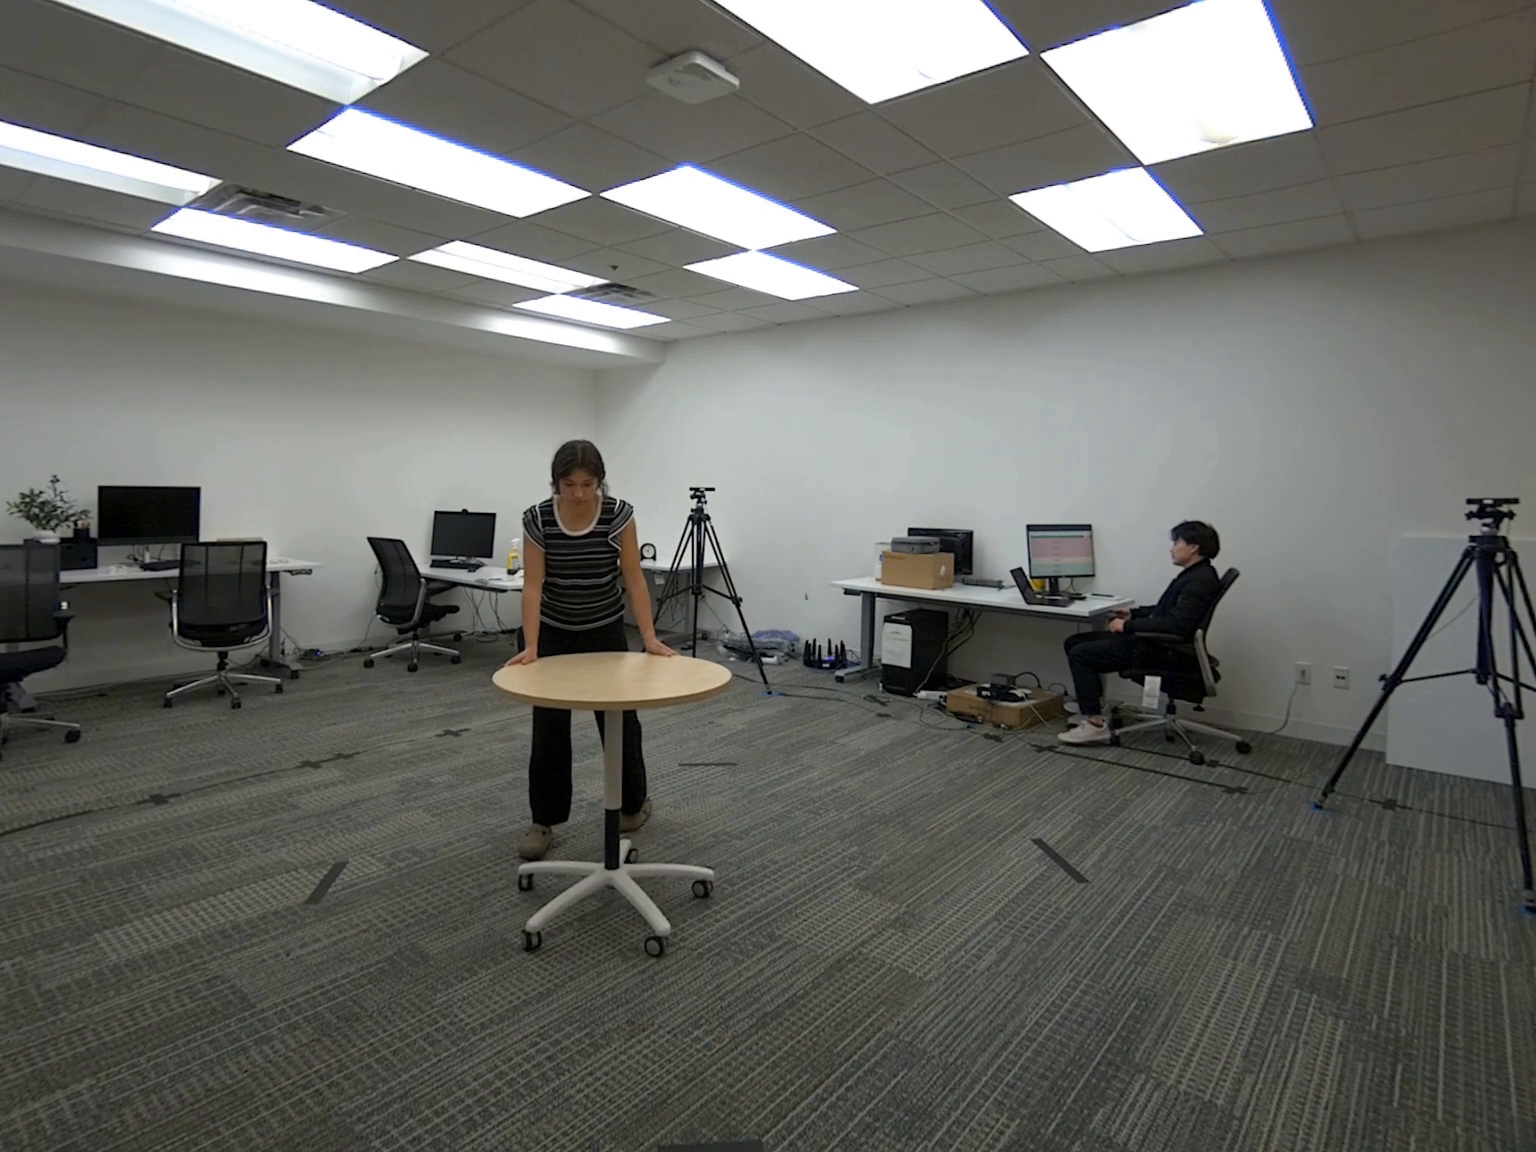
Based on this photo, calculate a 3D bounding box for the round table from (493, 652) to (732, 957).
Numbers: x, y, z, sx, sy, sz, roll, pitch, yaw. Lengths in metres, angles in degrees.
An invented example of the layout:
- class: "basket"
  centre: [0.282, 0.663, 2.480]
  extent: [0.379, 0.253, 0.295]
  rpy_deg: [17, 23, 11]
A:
- class: "round table"
  centre: [-0.511, 0.705, 2.780]
  extent: [0.763, 0.791, 0.768]
  rpy_deg: [1, 4, -2]
